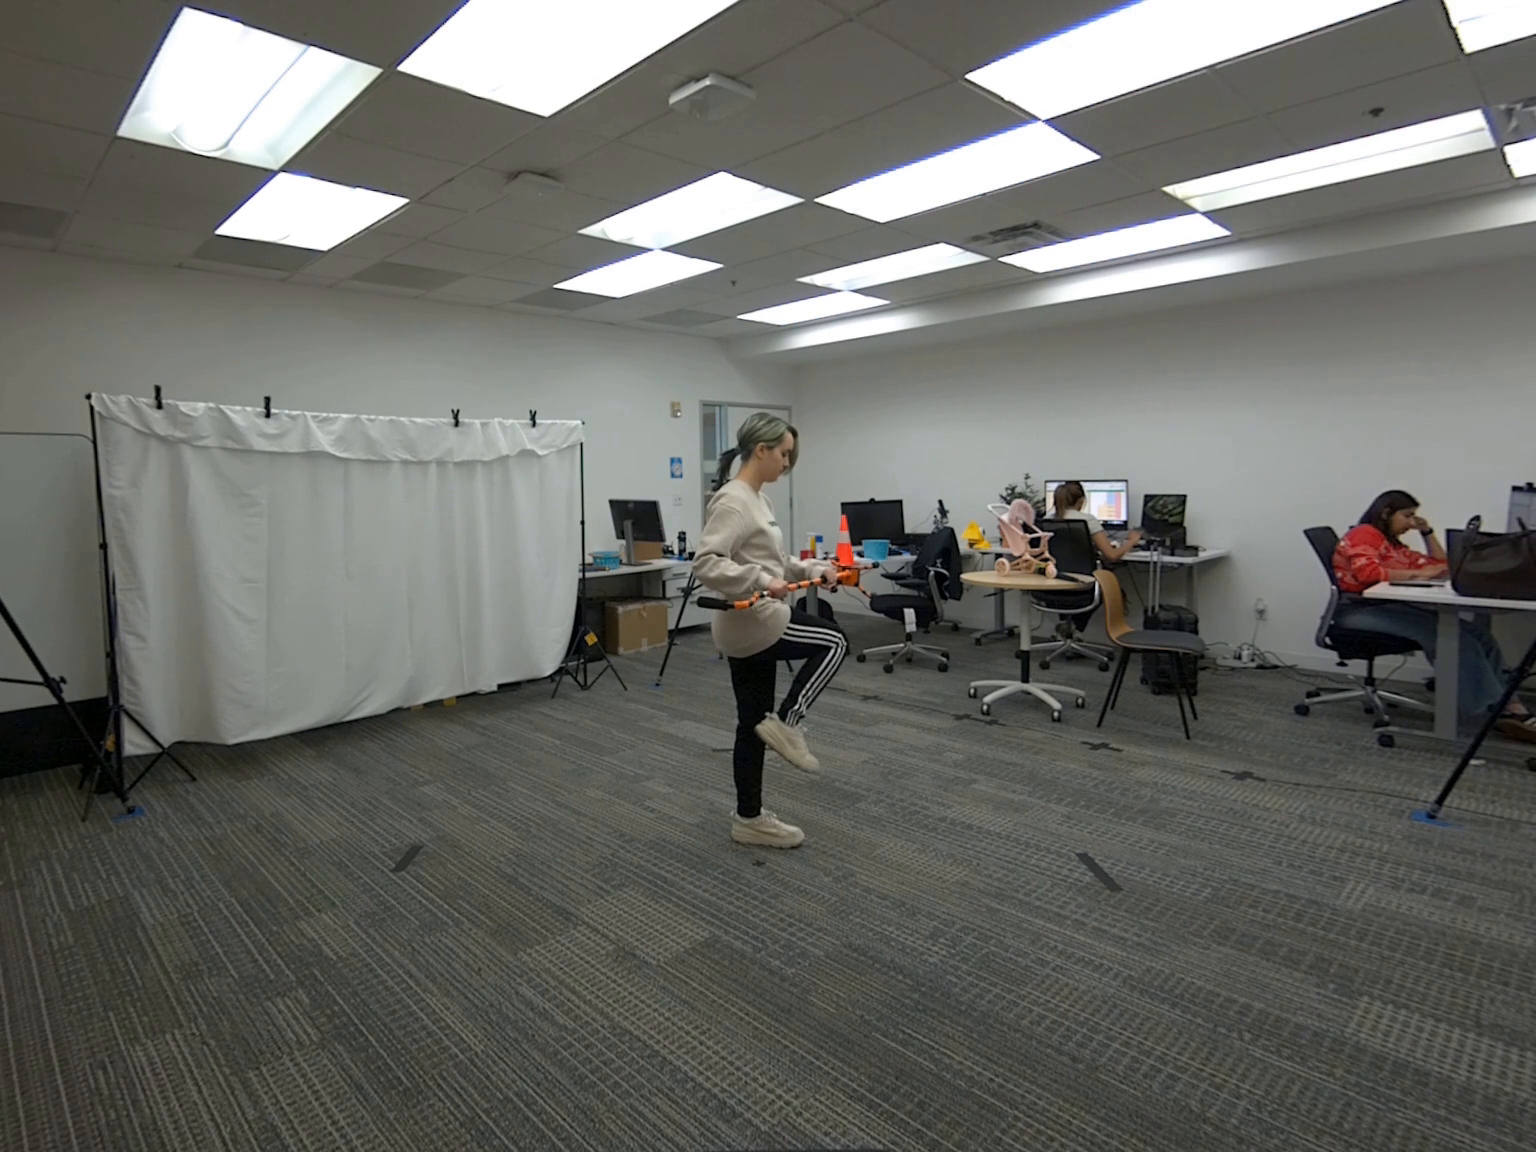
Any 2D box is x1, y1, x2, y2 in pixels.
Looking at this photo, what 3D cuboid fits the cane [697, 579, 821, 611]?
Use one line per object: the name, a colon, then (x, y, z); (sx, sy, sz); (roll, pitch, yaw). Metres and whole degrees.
cane: (0.133, 0.051, 3.017); (0.212, 0.151, 0.887); (7, 9, 32)
